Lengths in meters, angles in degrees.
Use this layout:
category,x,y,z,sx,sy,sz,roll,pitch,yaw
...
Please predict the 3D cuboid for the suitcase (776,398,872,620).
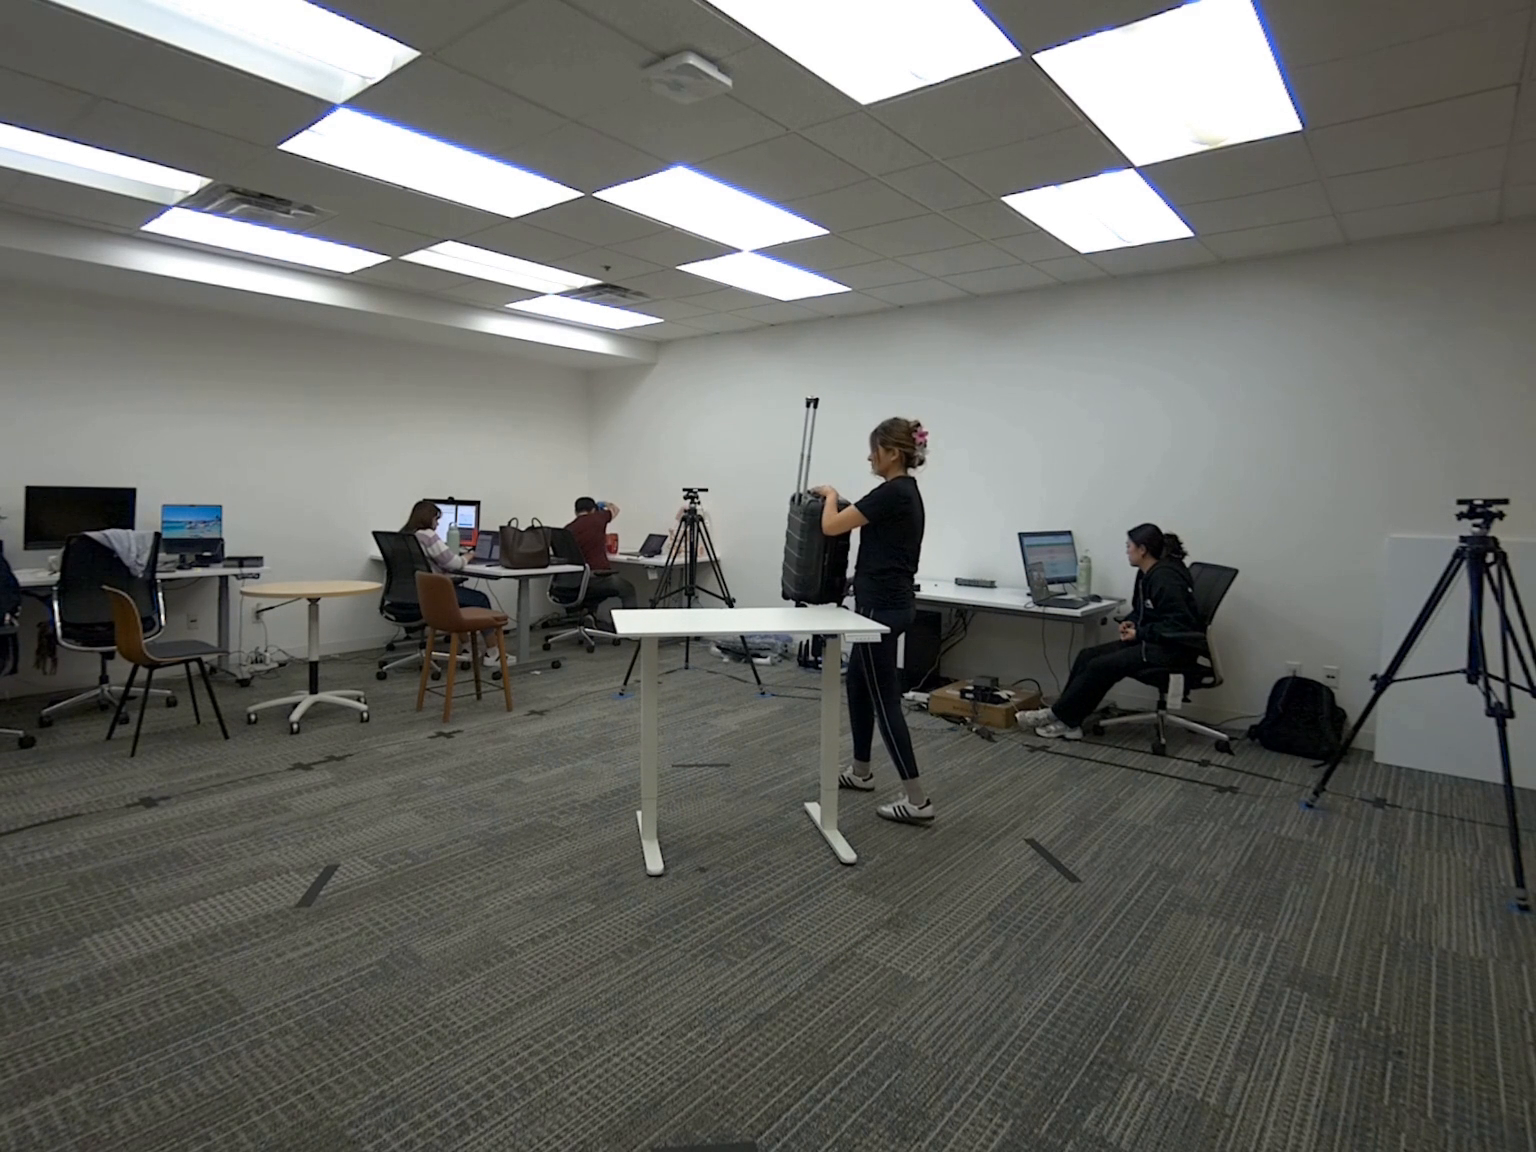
category,x,y,z,sx,sy,sz,roll,pitch,yaw
suitcase,0.247,-0.333,3.965,0.255,0.970,0.390,5,10,-8
